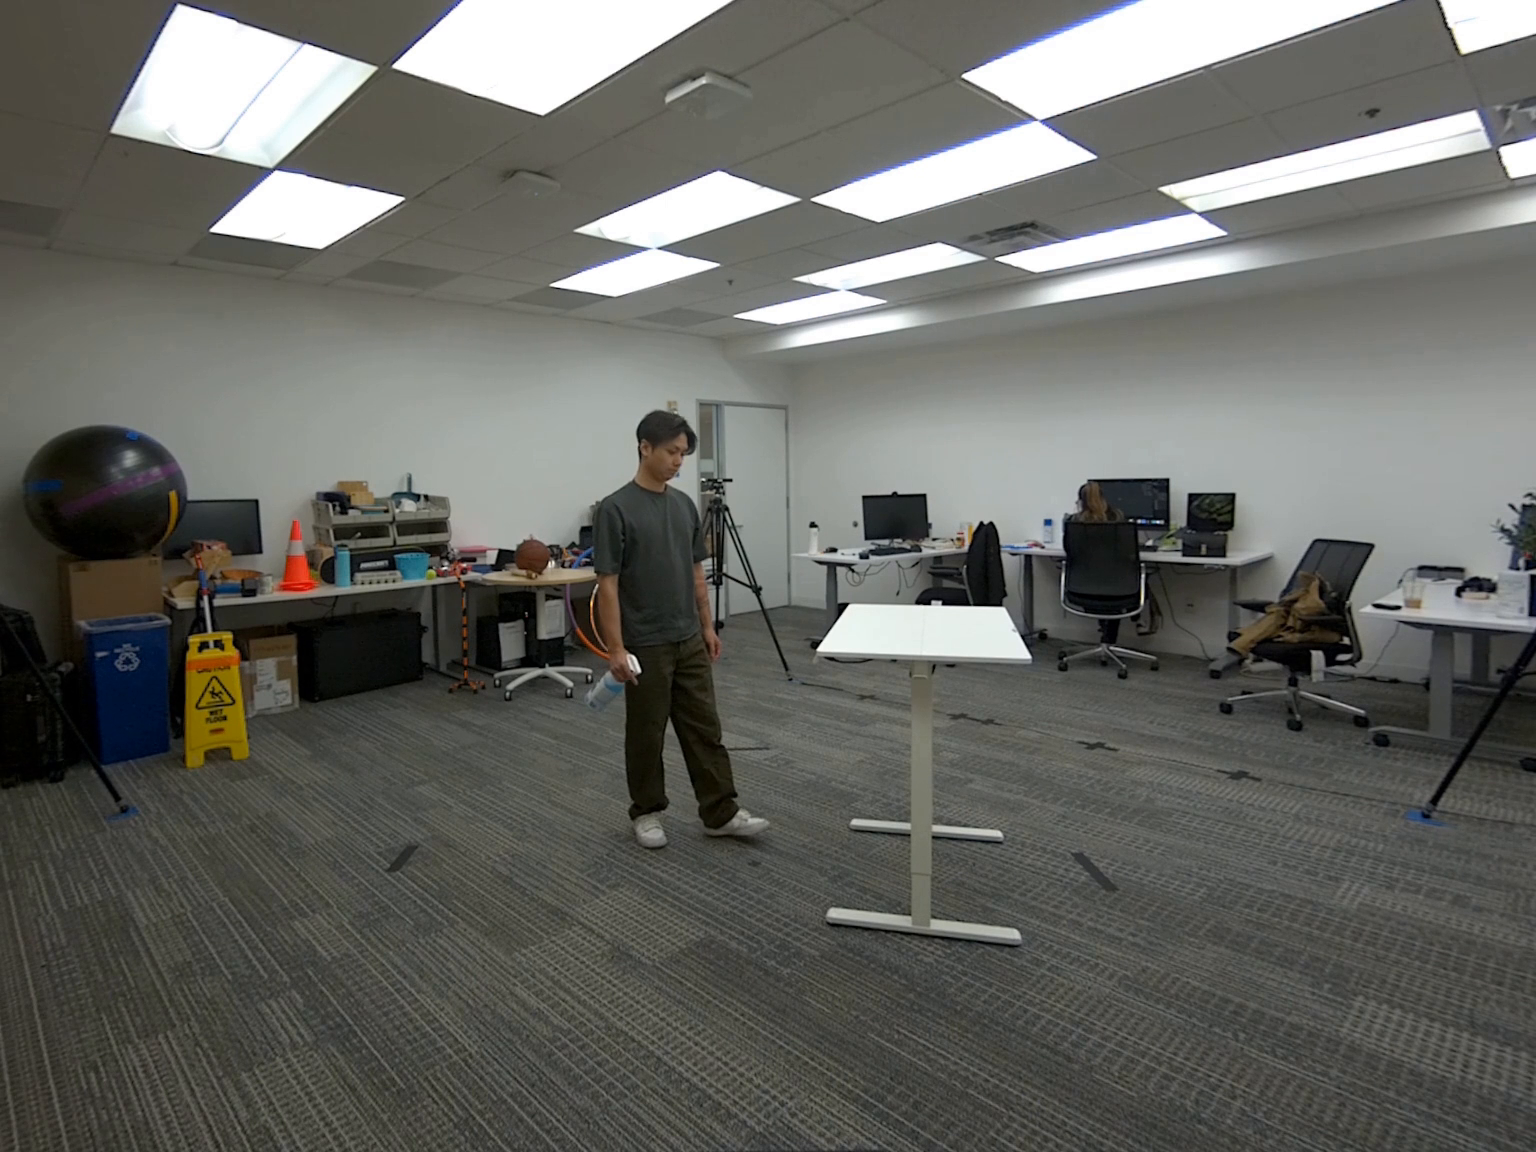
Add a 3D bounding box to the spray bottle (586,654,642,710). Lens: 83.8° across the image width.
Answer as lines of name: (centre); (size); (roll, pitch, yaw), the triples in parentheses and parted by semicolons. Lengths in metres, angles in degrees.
spray bottle: (-0.559, 0.388, 3.114); (0.084, 0.092, 0.298); (29, -55, -26)
